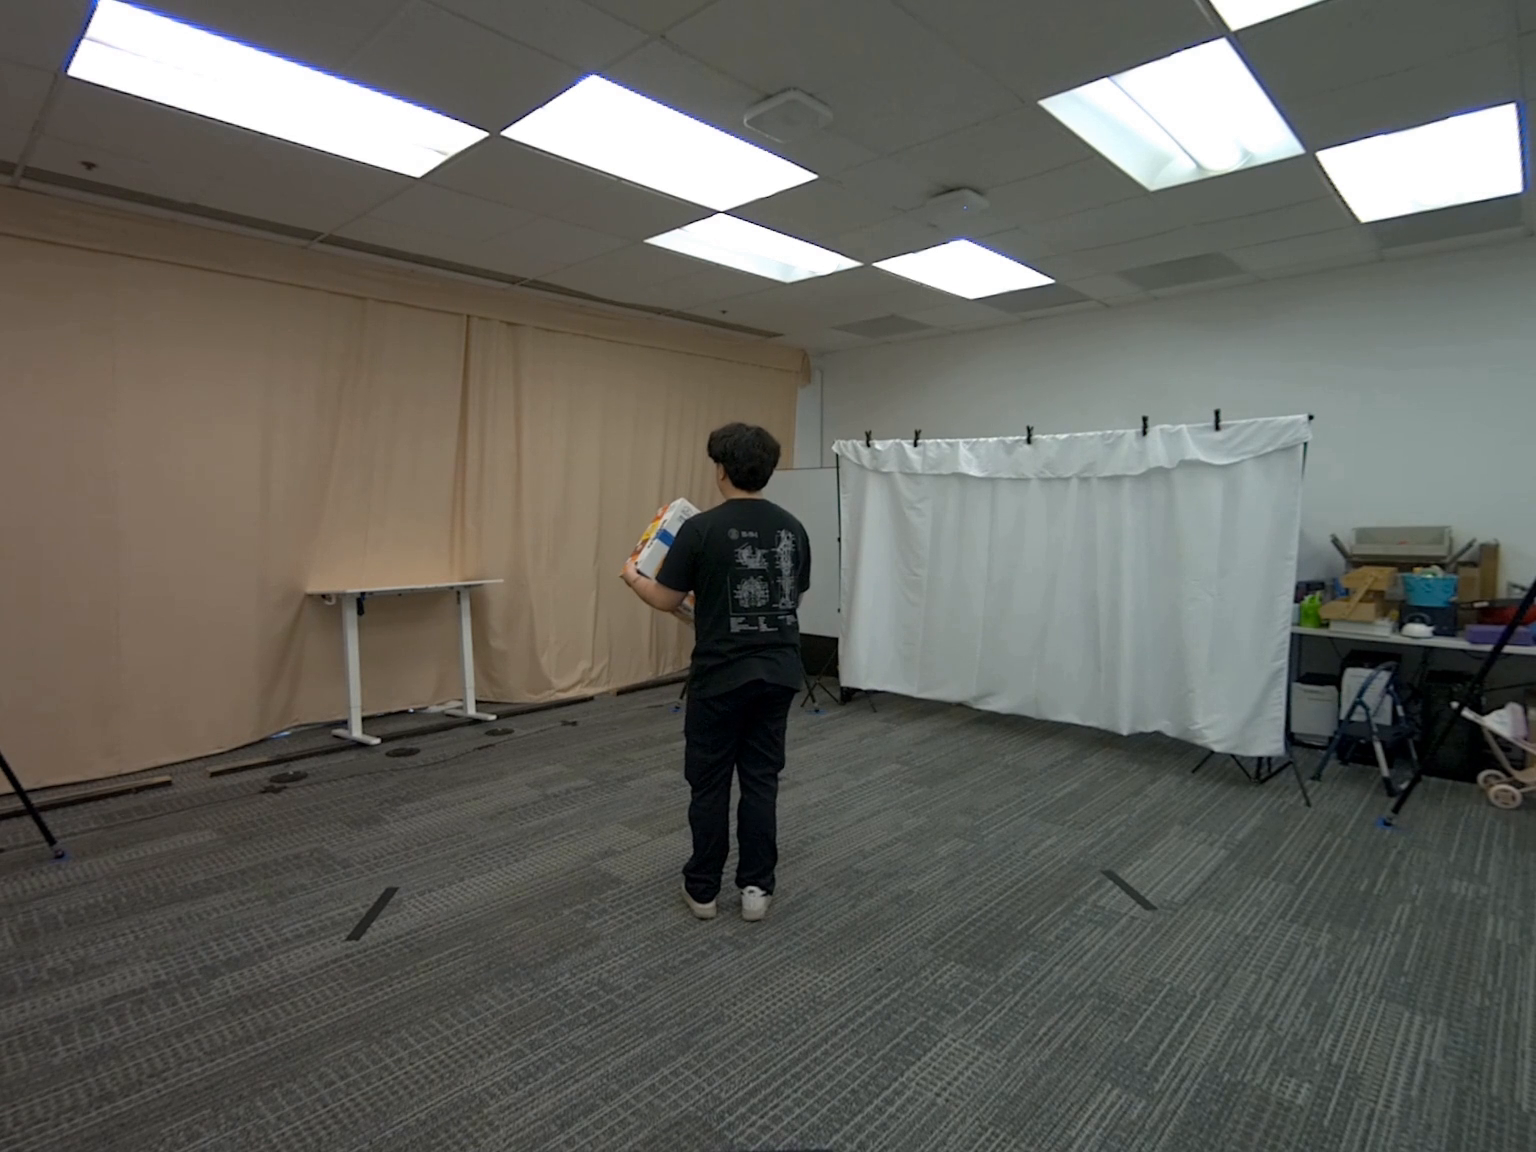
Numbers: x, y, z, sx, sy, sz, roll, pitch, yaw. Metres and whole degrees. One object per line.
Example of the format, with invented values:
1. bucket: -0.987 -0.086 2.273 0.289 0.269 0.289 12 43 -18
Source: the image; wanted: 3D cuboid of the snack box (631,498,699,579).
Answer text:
1. snack box: -0.306 -0.035 3.288 0.396 0.340 0.210 38 -25 -19
